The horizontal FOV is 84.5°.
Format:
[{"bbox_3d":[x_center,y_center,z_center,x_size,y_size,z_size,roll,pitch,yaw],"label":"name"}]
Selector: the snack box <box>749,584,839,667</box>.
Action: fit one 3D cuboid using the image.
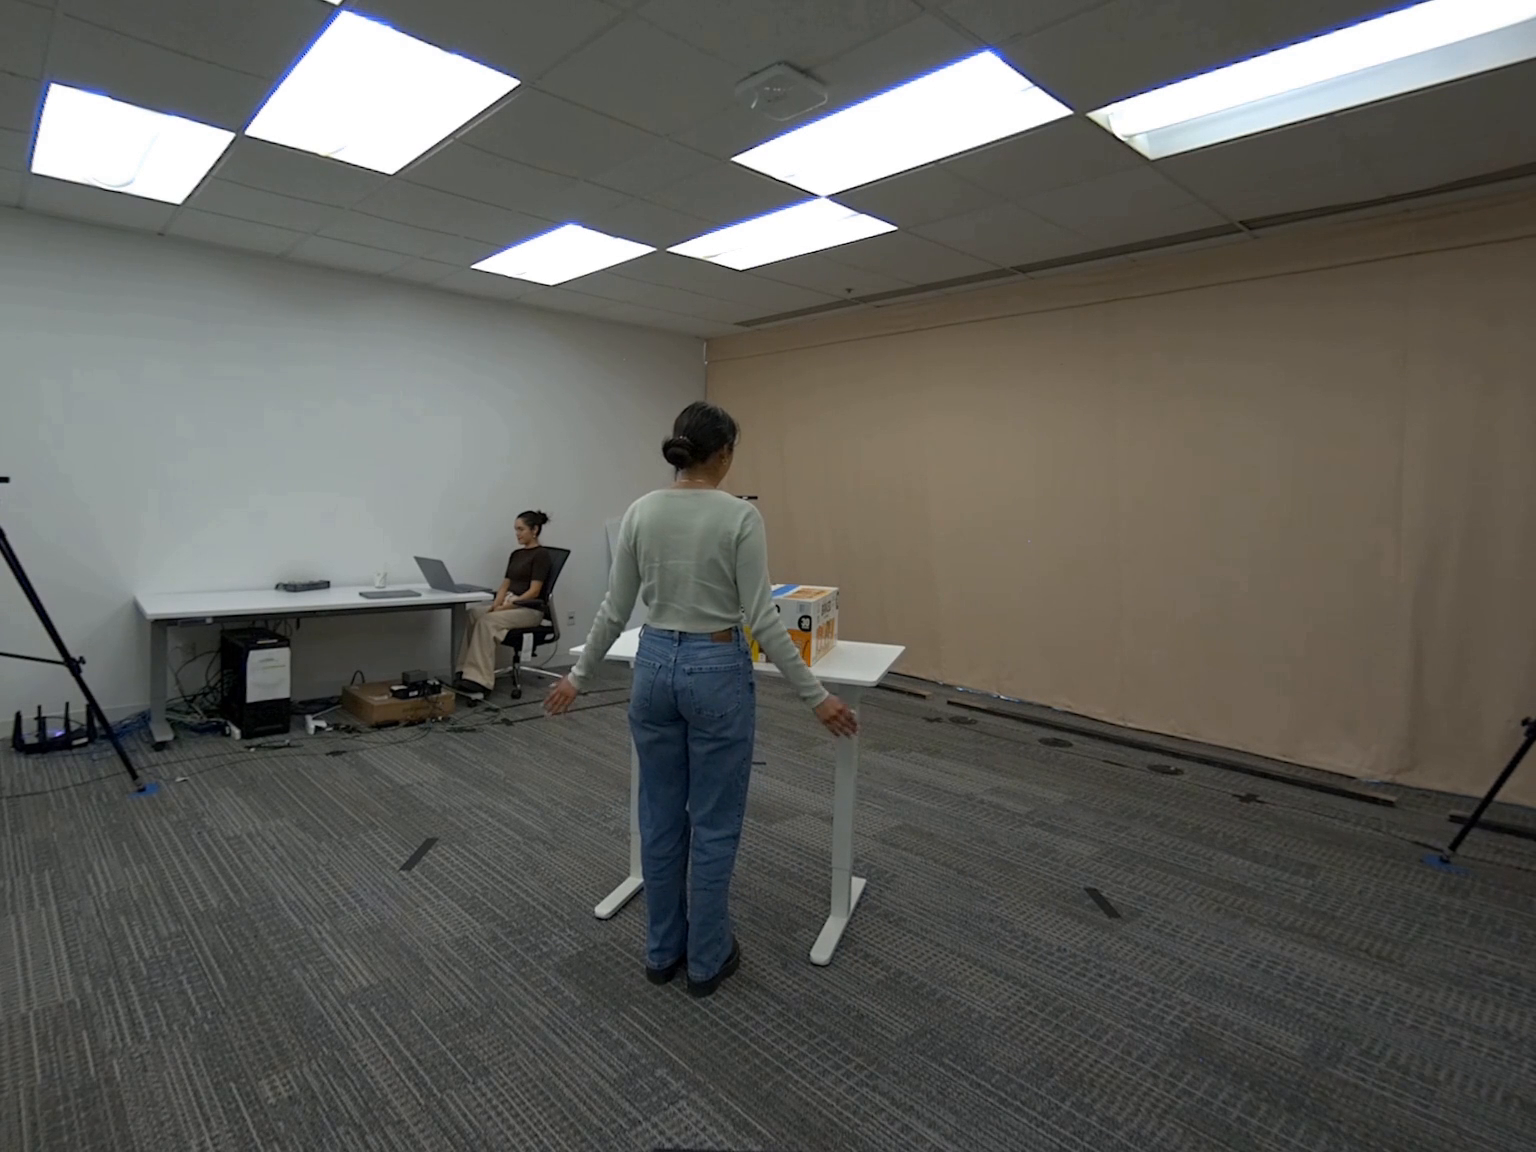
[{"bbox_3d":[0.023,0.152,2.807,0.345,0.205,0.400,3,6,17],"label":"snack box"}]
